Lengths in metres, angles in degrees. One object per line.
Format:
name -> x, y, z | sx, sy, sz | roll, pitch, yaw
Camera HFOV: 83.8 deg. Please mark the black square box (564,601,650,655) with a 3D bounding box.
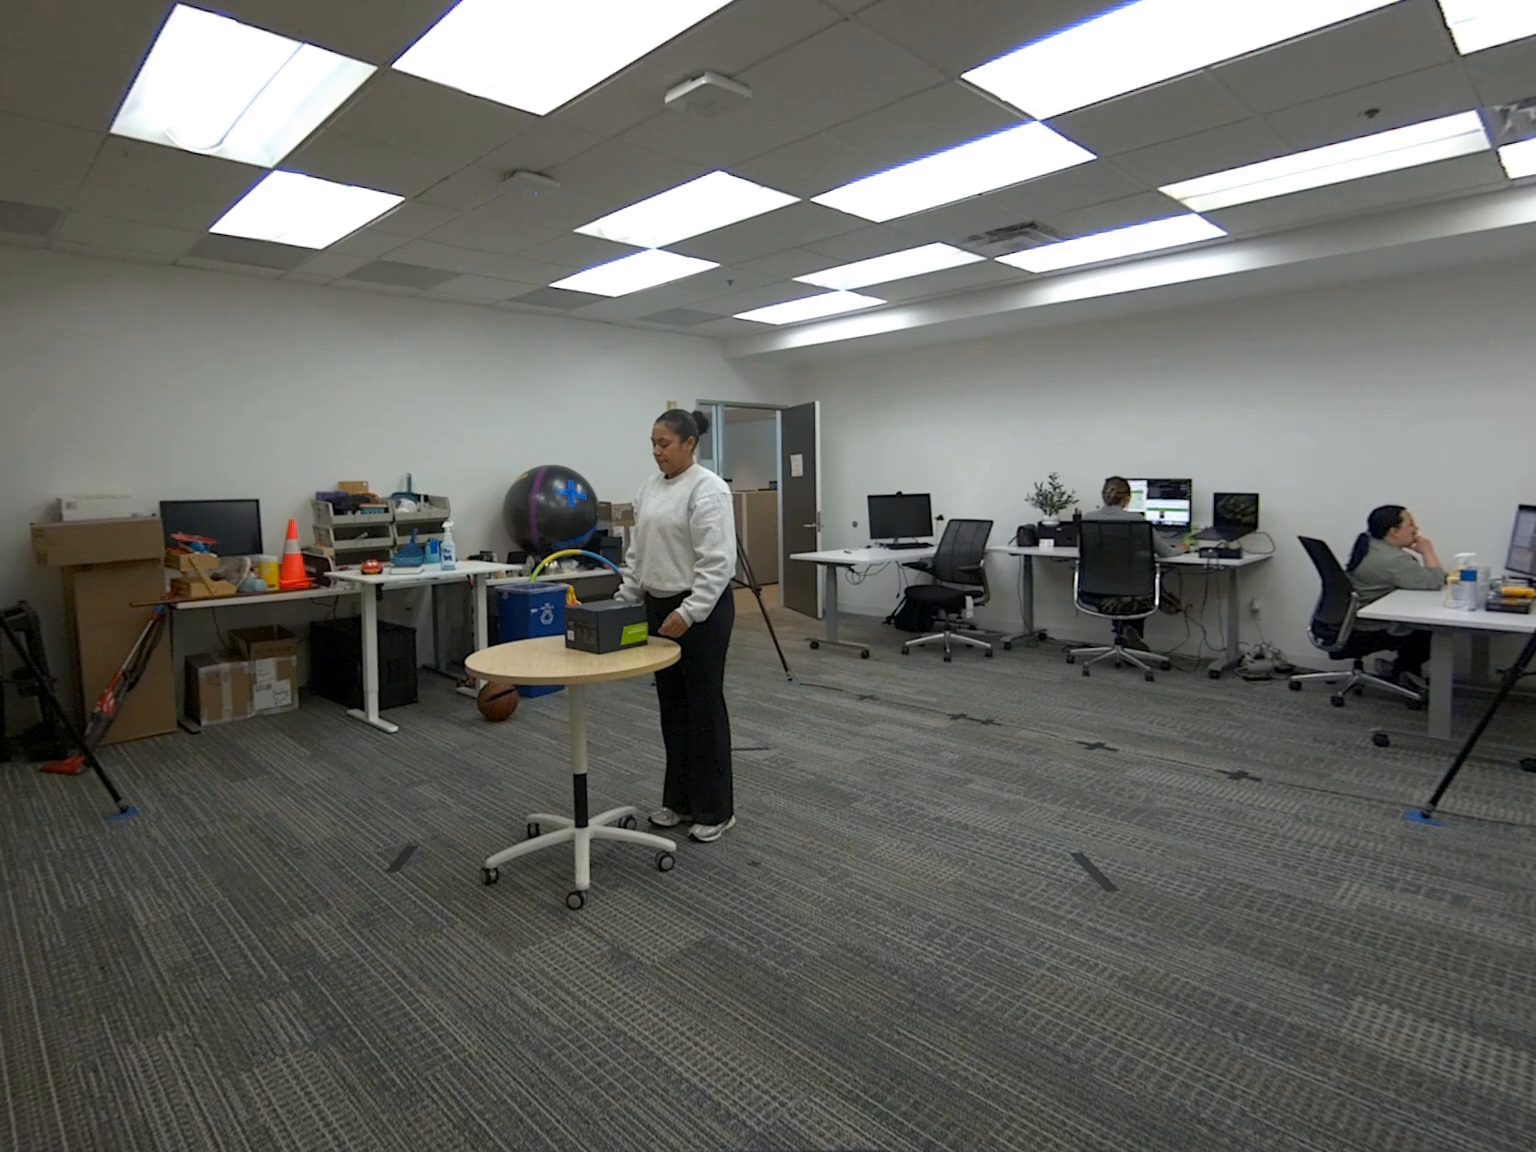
black square box -> -0.608, 0.185, 3.178 | 0.224, 0.155, 0.222 | 4, 8, 44
